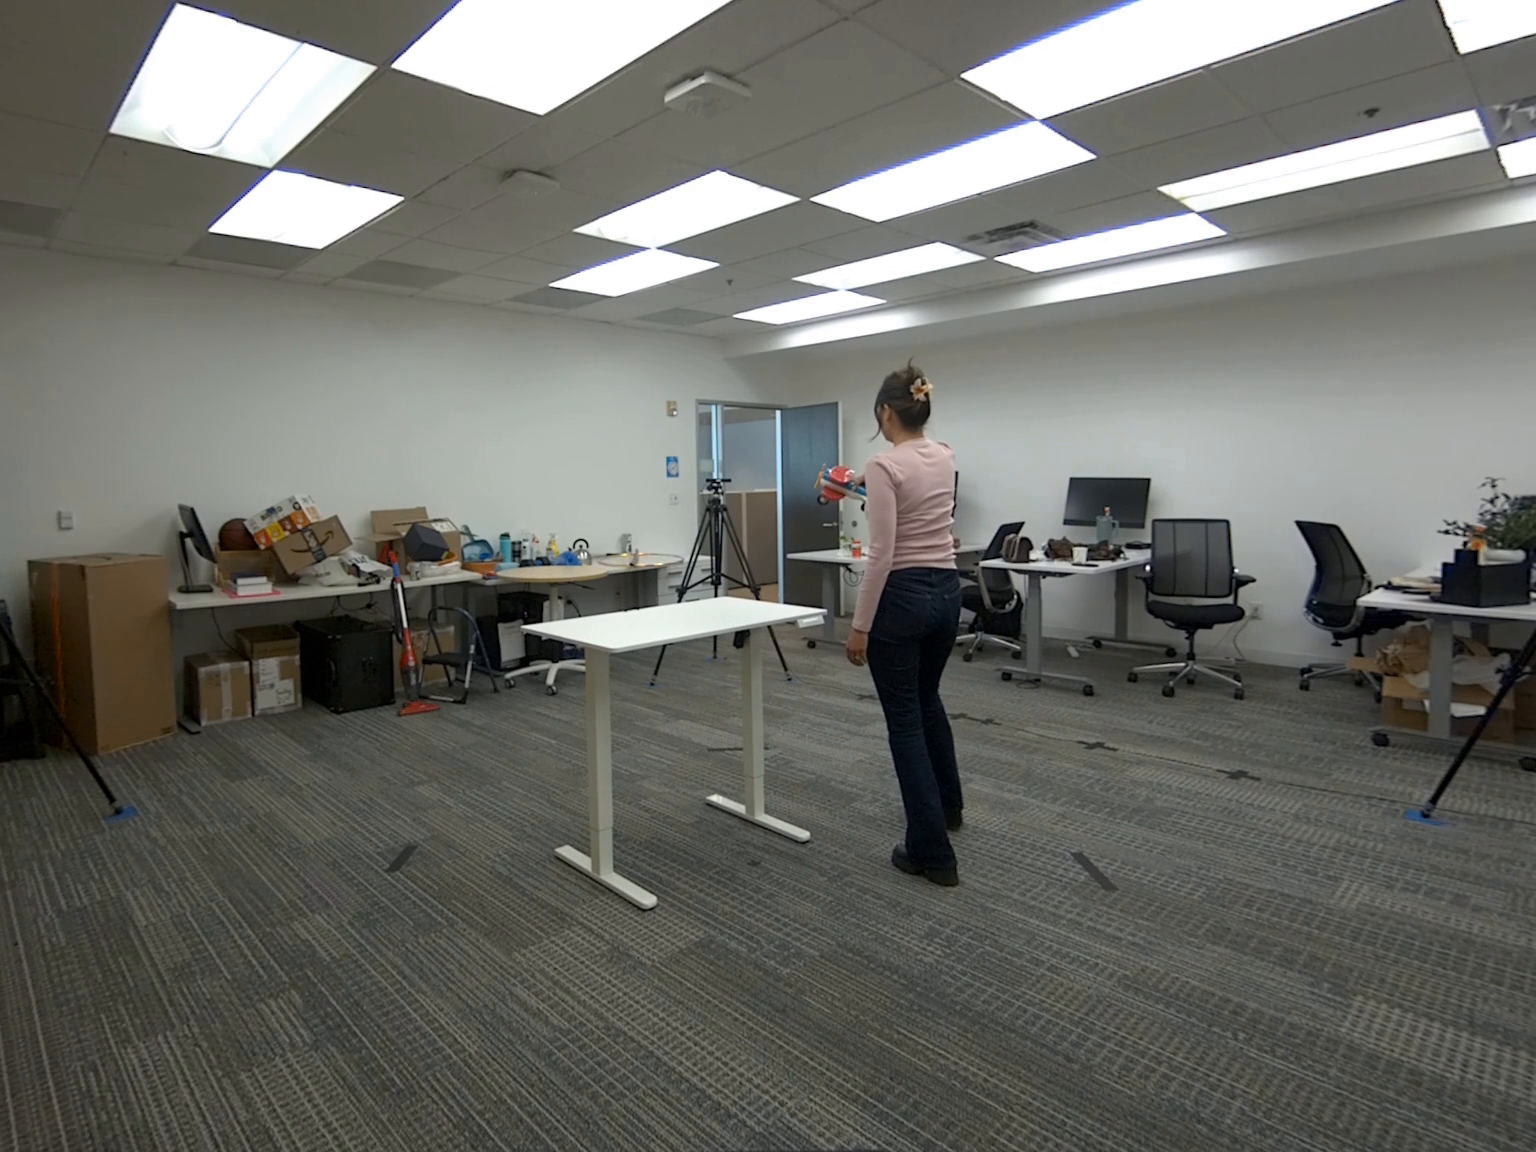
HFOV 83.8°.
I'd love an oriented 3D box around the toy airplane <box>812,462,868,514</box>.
[{"bbox_3d":[0.348,-0.377,3.657,0.257,0.154,0.257,1,19,-10],"label":"toy airplane"}]
